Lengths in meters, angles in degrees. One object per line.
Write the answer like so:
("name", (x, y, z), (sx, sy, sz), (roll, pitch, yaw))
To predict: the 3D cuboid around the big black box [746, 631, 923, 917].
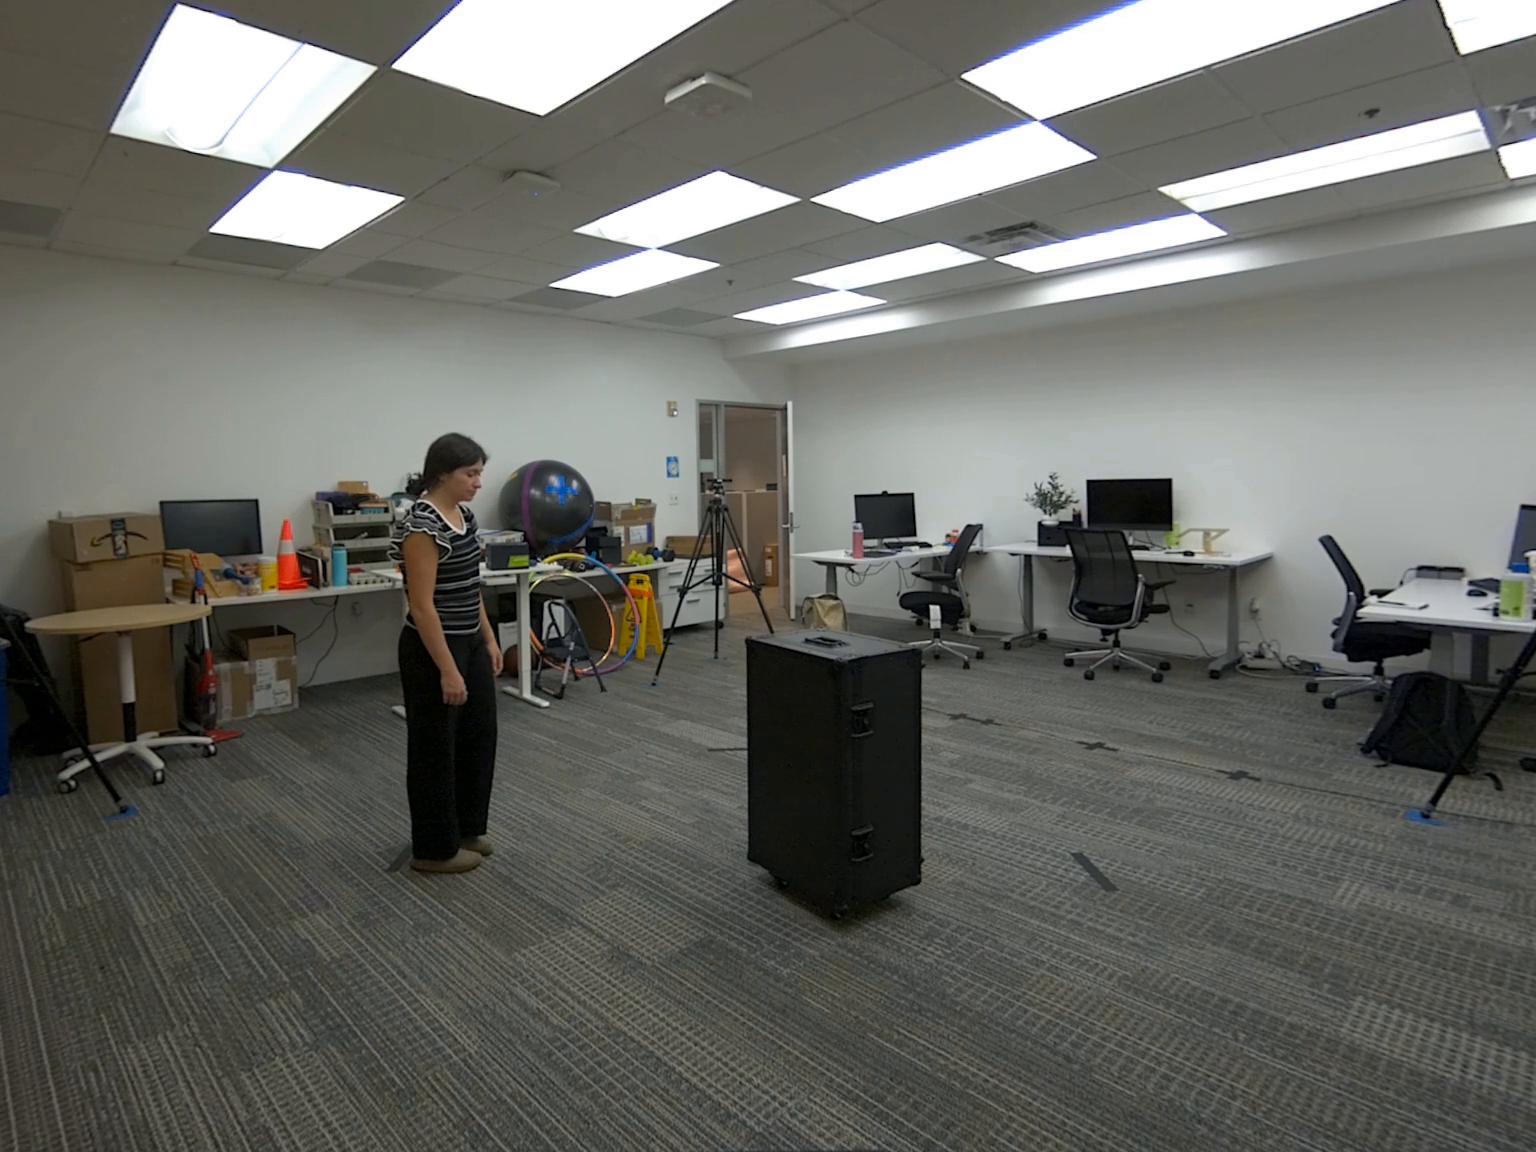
("big black box", (0.217, 0.637, 2.872), (0.386, 0.859, 0.537), (-2, 4, -37))
